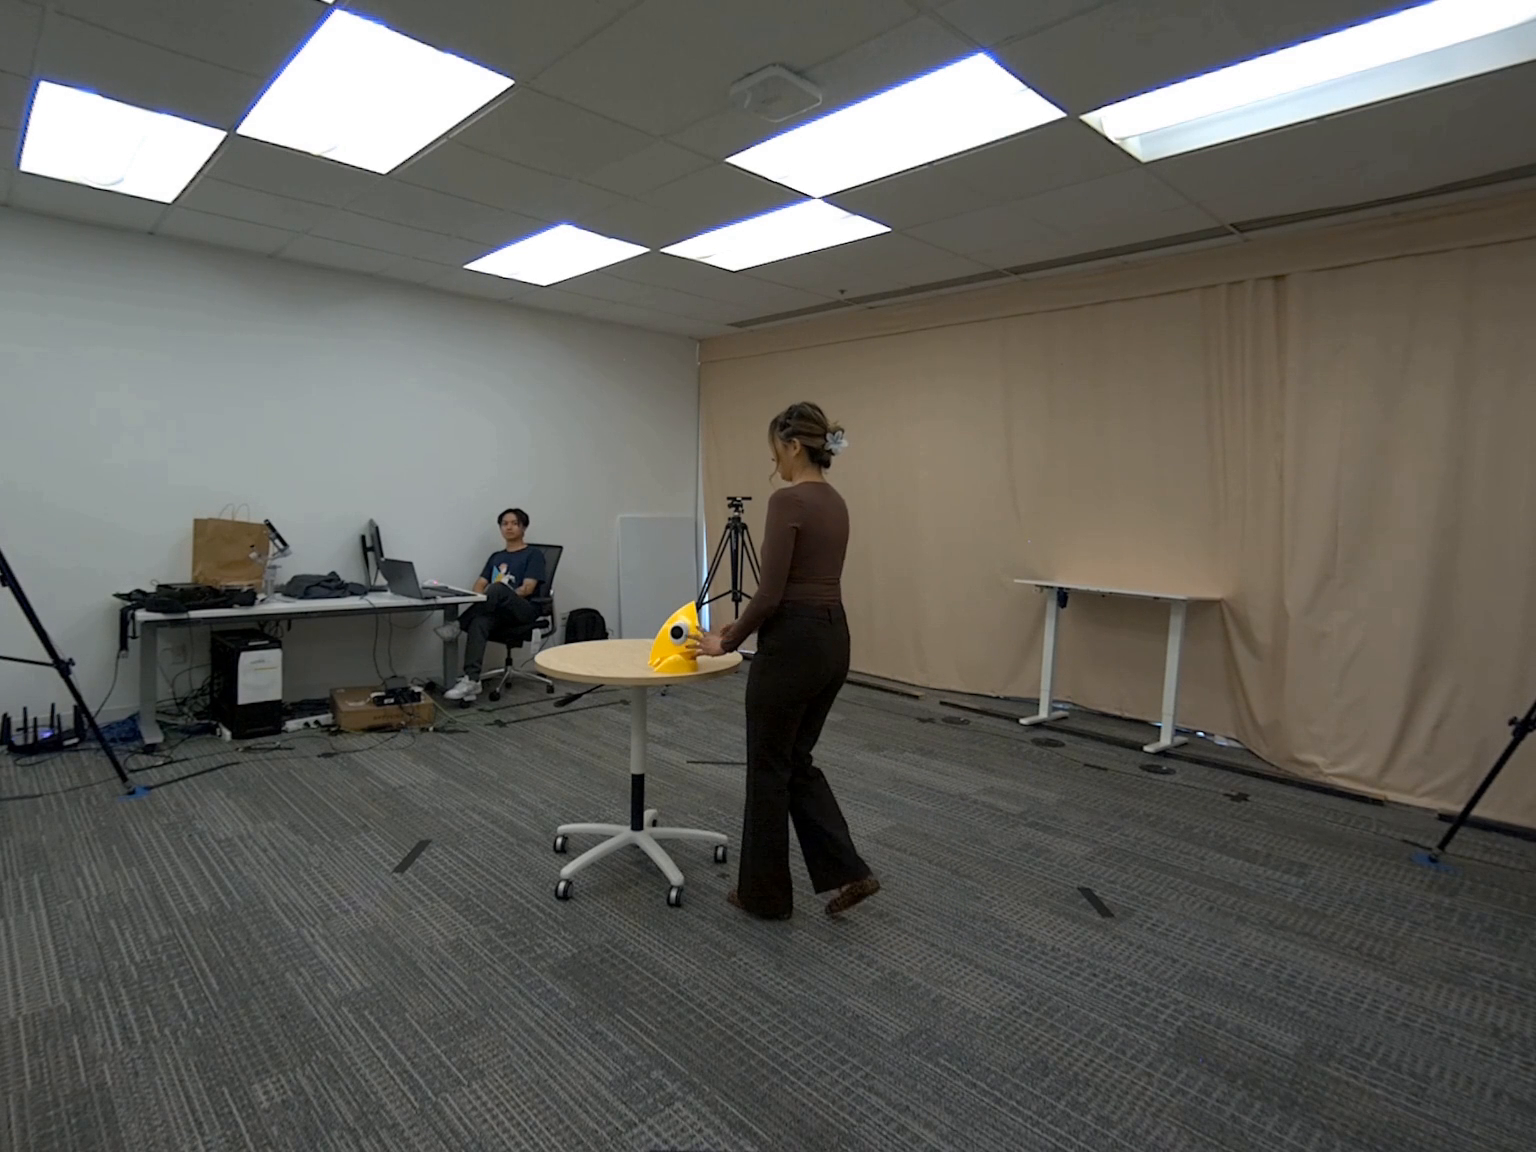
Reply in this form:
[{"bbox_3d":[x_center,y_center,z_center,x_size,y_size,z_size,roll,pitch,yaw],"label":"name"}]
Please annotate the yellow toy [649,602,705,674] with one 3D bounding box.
[{"bbox_3d":[-0.326,0.207,2.935,0.191,0.230,0.208,-1,4,-15],"label":"yellow toy"}]
